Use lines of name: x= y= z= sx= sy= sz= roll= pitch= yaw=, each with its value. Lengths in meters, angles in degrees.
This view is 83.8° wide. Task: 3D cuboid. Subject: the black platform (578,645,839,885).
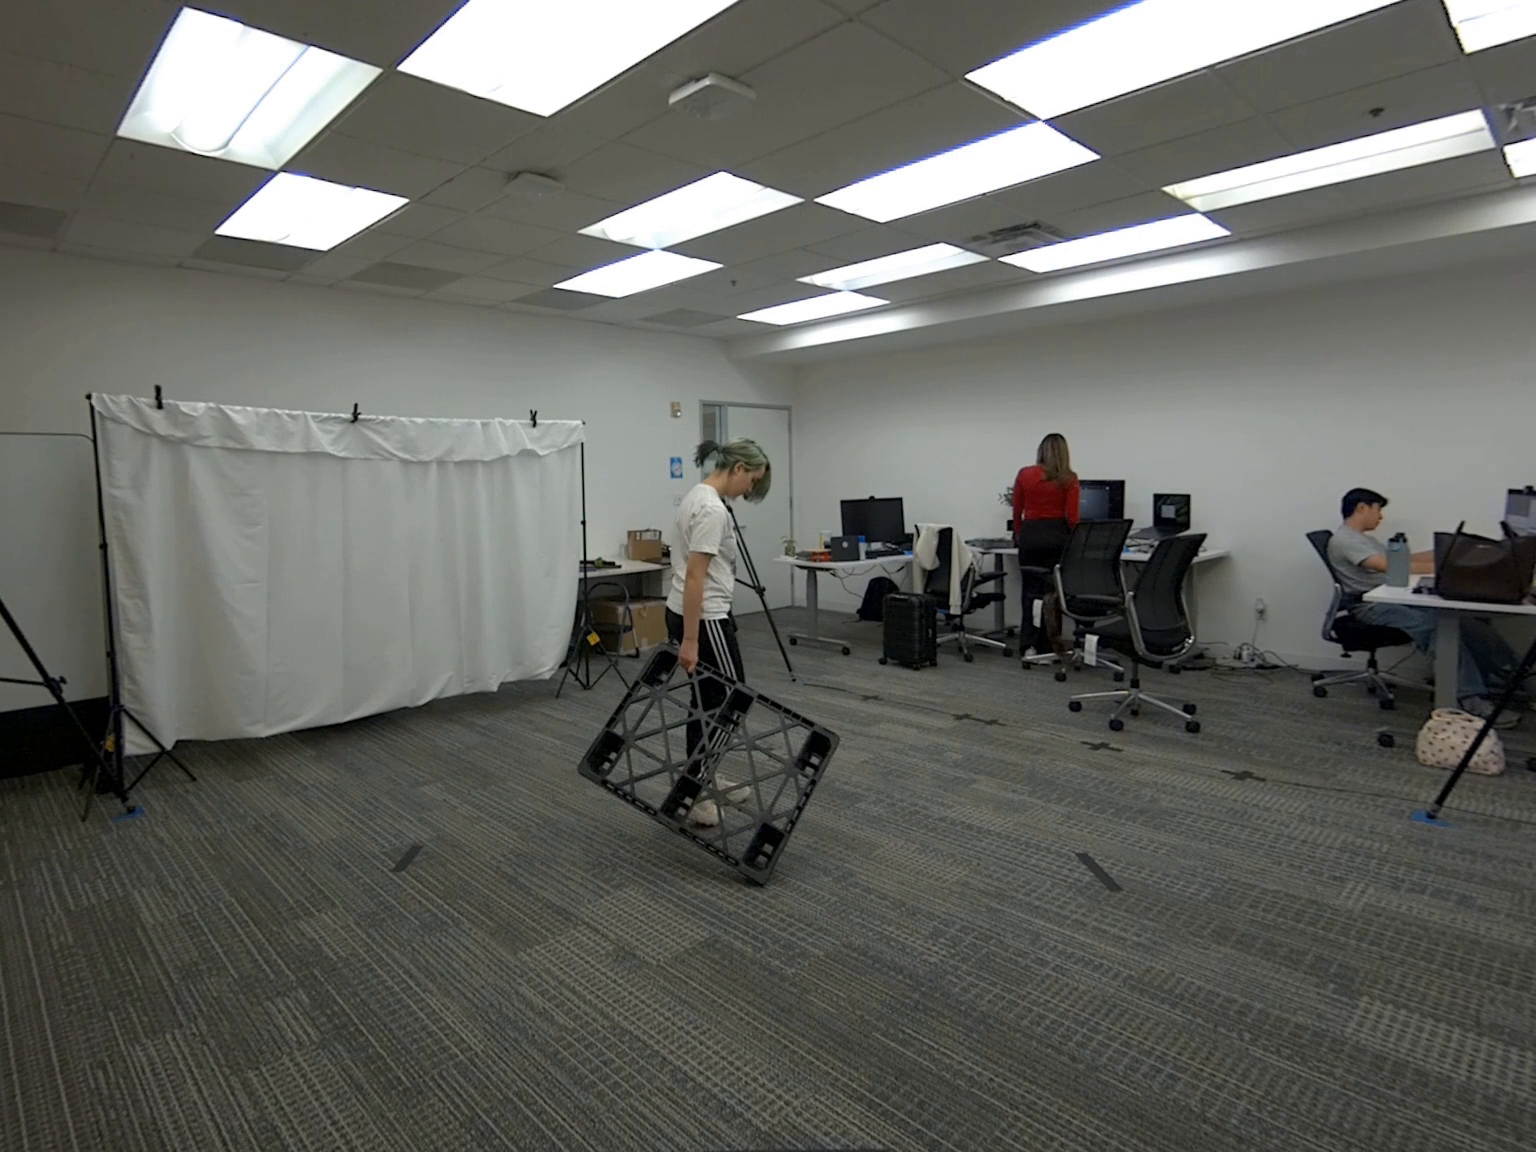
black platform: x=-0.217 y=0.690 z=3.211 sx=0.823 sy=0.608 sz=0.139 roll=25 pitch=-25 yaw=17
